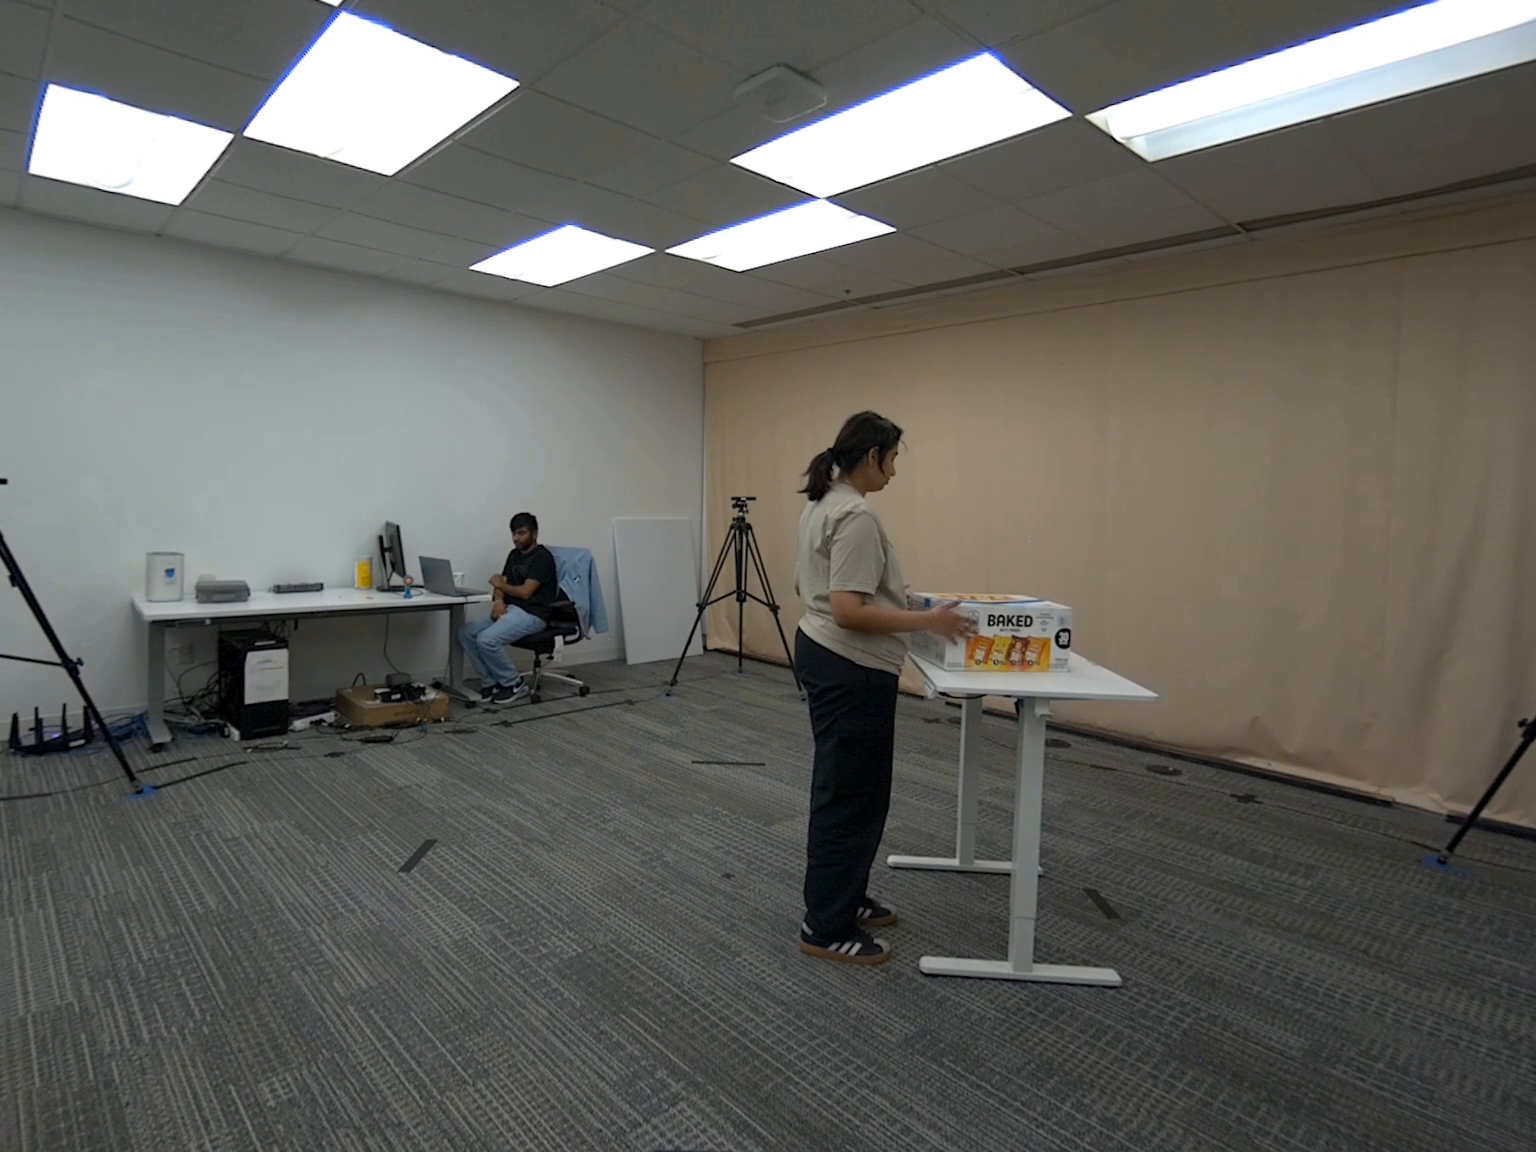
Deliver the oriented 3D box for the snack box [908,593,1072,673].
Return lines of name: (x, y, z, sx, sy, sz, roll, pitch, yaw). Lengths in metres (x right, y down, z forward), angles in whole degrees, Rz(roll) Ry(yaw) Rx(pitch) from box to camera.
snack box: (0.705, 0.178, 2.735, 0.402, 0.205, 0.344, 1, 4, -10)
